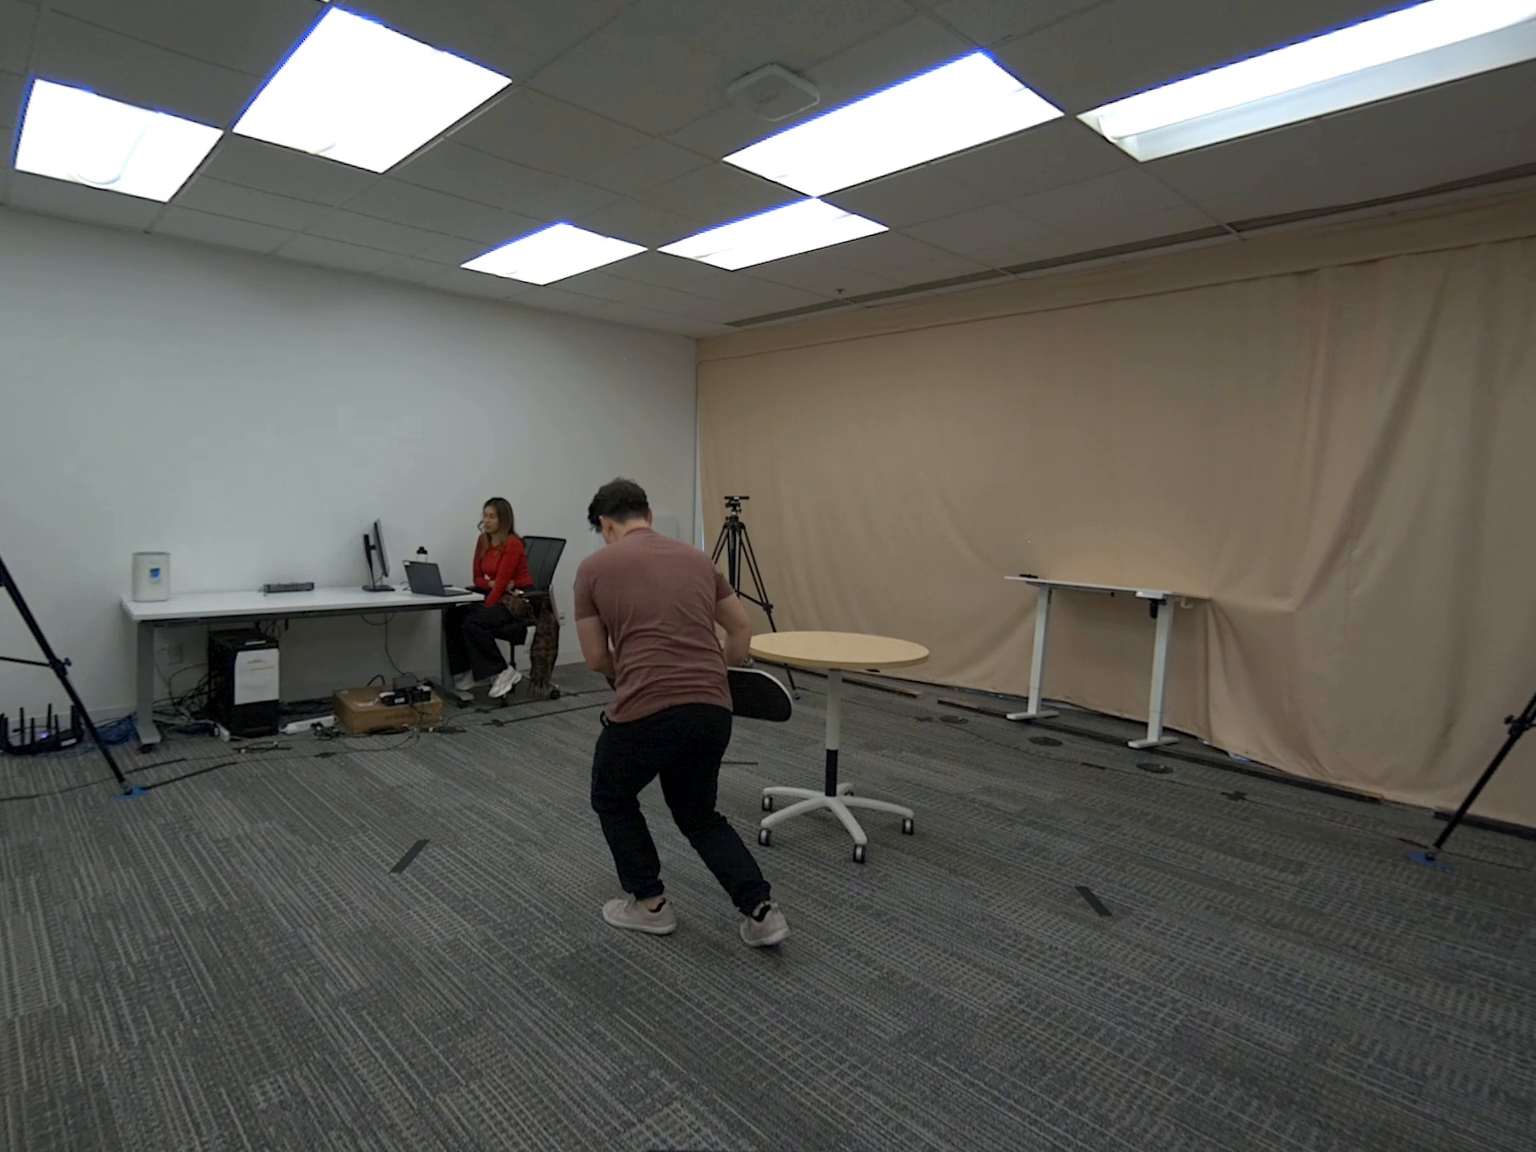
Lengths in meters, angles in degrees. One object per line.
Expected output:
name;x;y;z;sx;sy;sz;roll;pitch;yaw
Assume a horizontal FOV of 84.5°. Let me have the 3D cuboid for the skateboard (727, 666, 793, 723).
skateboard;-0.238;0.377;2.924;0.803;0.190;0.110;3;26;34
